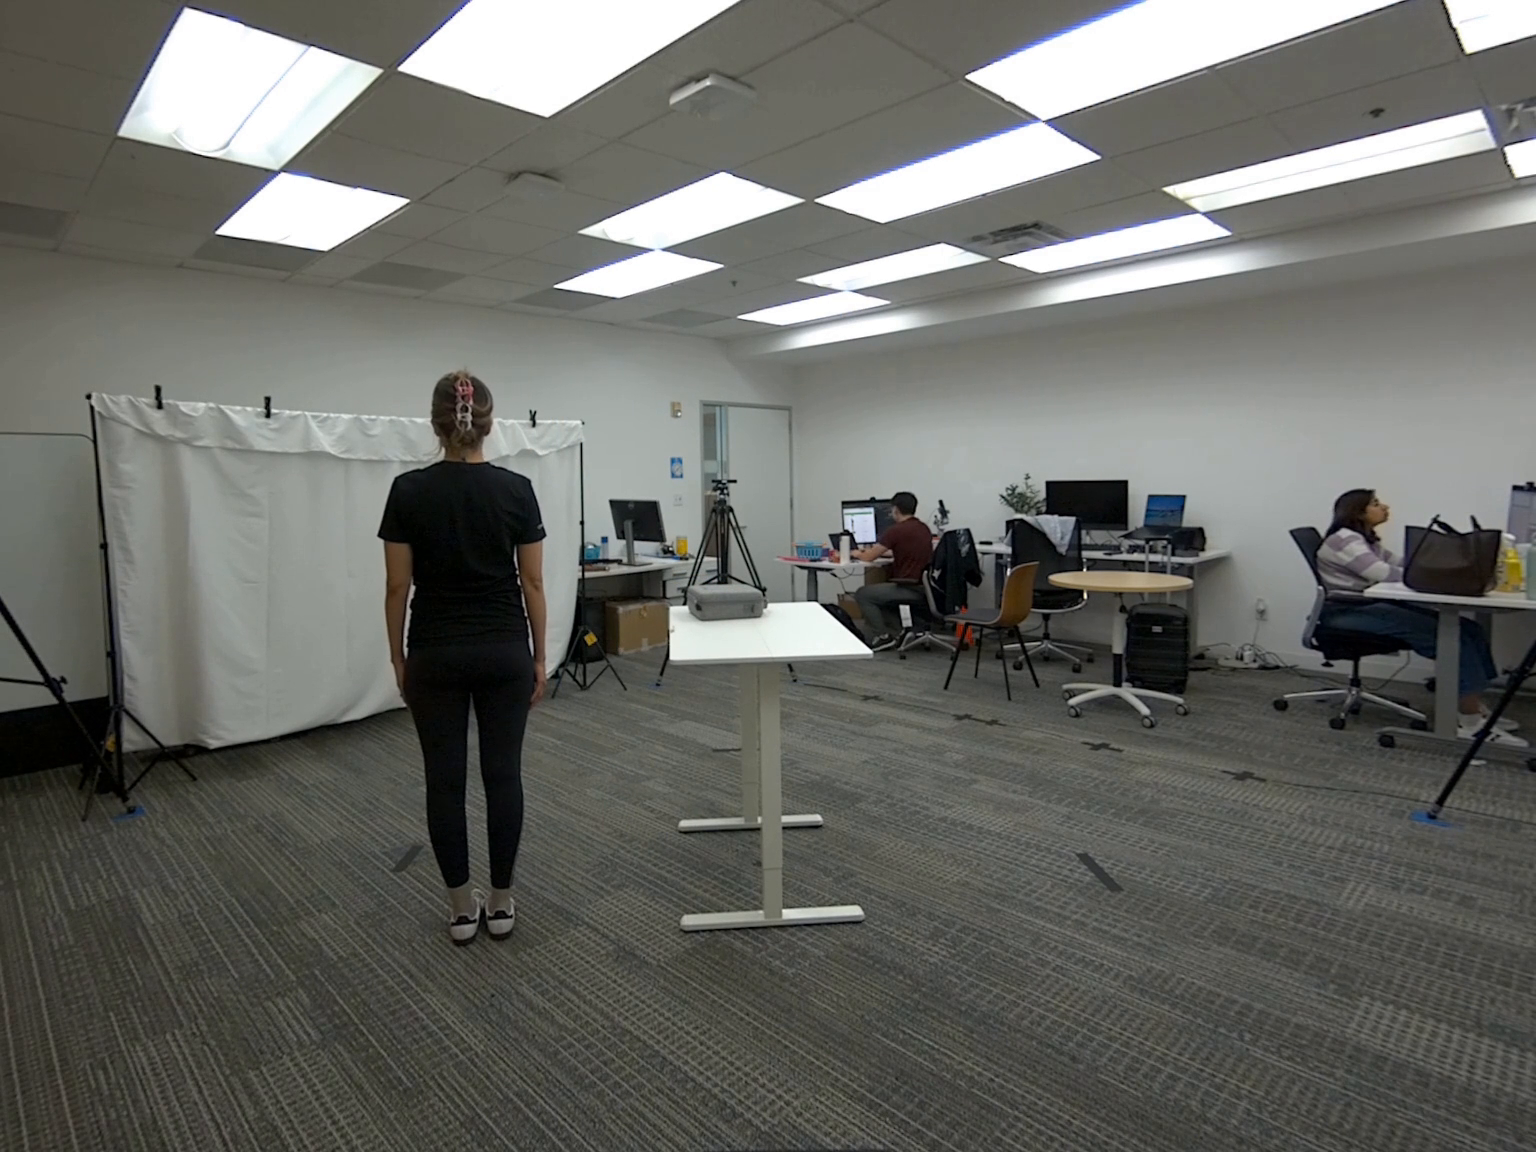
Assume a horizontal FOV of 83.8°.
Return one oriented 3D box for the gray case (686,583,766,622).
[{"bbox_3d":[-0.159,0.095,3.259,0.257,0.104,0.261,-2,6,-15],"label":"gray case"}]
